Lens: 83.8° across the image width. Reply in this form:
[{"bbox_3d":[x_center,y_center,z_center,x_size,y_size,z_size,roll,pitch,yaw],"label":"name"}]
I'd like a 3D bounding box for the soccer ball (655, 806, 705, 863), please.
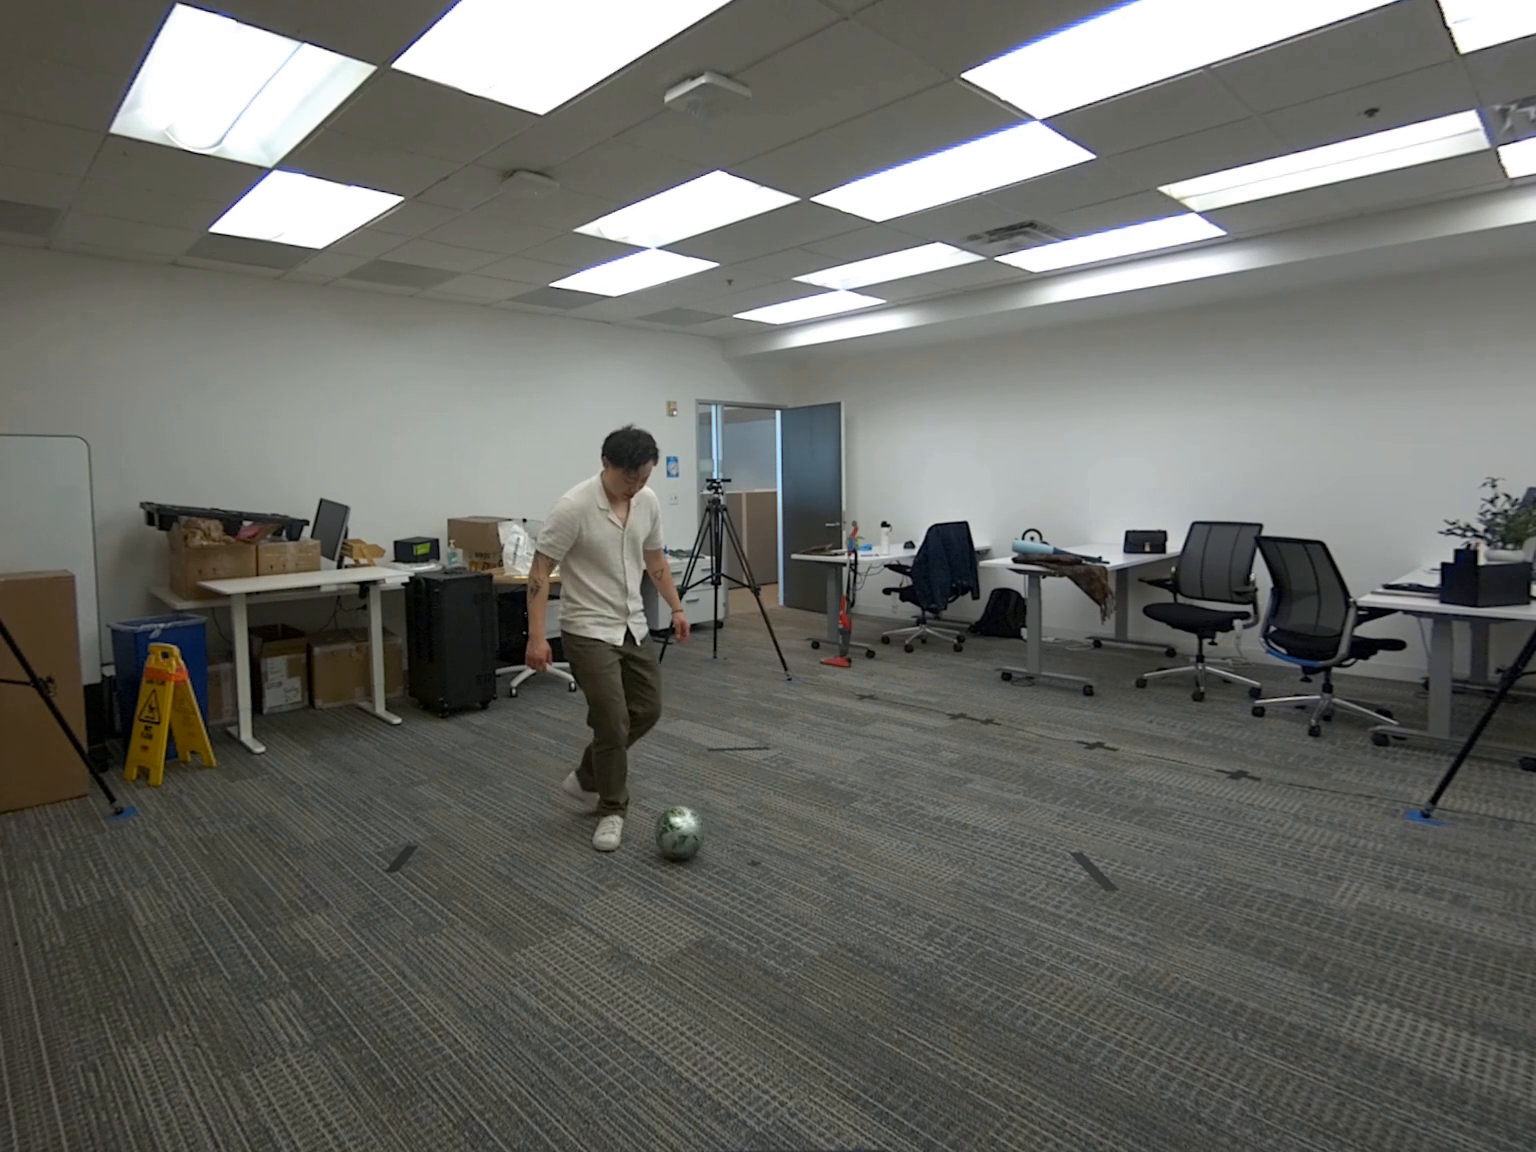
[{"bbox_3d":[-0.324,0.948,3.157,0.187,0.187,0.188,-1,5,-2],"label":"soccer ball"}]
